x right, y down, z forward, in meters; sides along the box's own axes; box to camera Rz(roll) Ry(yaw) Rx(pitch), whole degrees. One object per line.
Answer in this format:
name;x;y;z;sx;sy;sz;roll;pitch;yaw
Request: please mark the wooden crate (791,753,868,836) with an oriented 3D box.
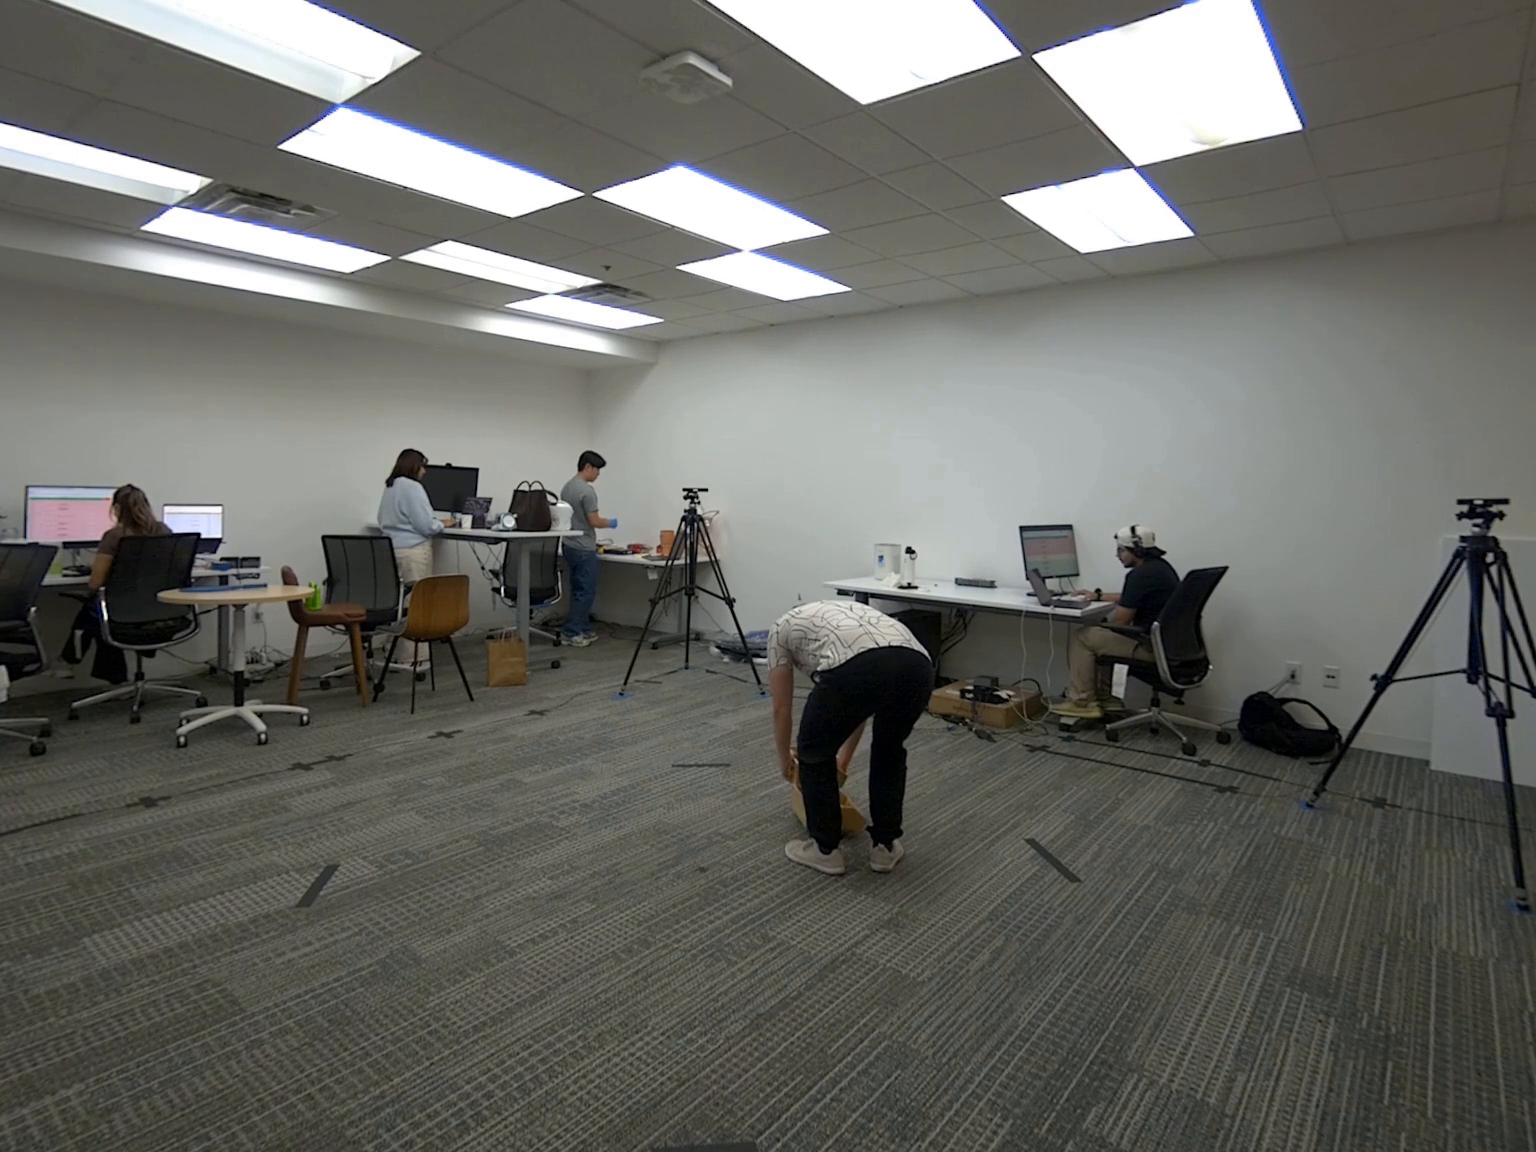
wooden crate;0.232;0.867;3.547;0.299;0.273;0.327;3;1;-9
